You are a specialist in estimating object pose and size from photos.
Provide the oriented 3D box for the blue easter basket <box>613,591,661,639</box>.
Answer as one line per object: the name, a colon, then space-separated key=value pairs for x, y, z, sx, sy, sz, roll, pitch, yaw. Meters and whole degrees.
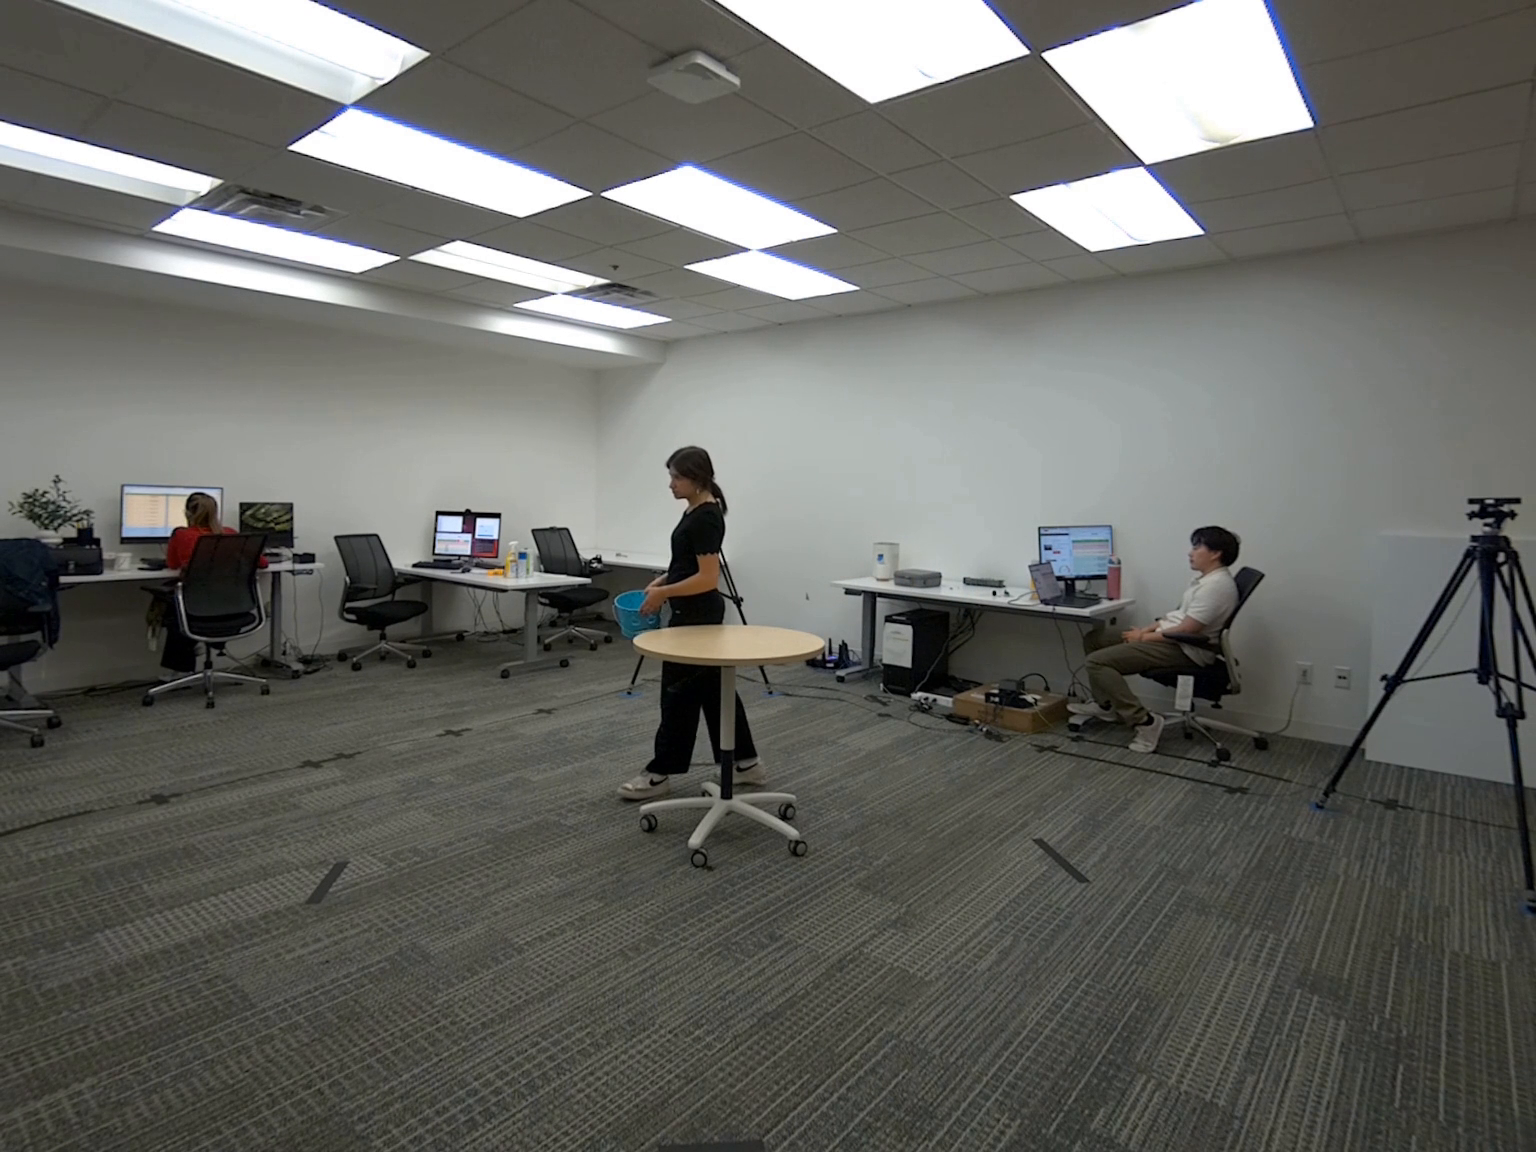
blue easter basket: x=-0.602 y=0.179 z=3.929 sx=0.243 sy=0.153 sz=0.248 roll=-3 pitch=21 yaw=-1
